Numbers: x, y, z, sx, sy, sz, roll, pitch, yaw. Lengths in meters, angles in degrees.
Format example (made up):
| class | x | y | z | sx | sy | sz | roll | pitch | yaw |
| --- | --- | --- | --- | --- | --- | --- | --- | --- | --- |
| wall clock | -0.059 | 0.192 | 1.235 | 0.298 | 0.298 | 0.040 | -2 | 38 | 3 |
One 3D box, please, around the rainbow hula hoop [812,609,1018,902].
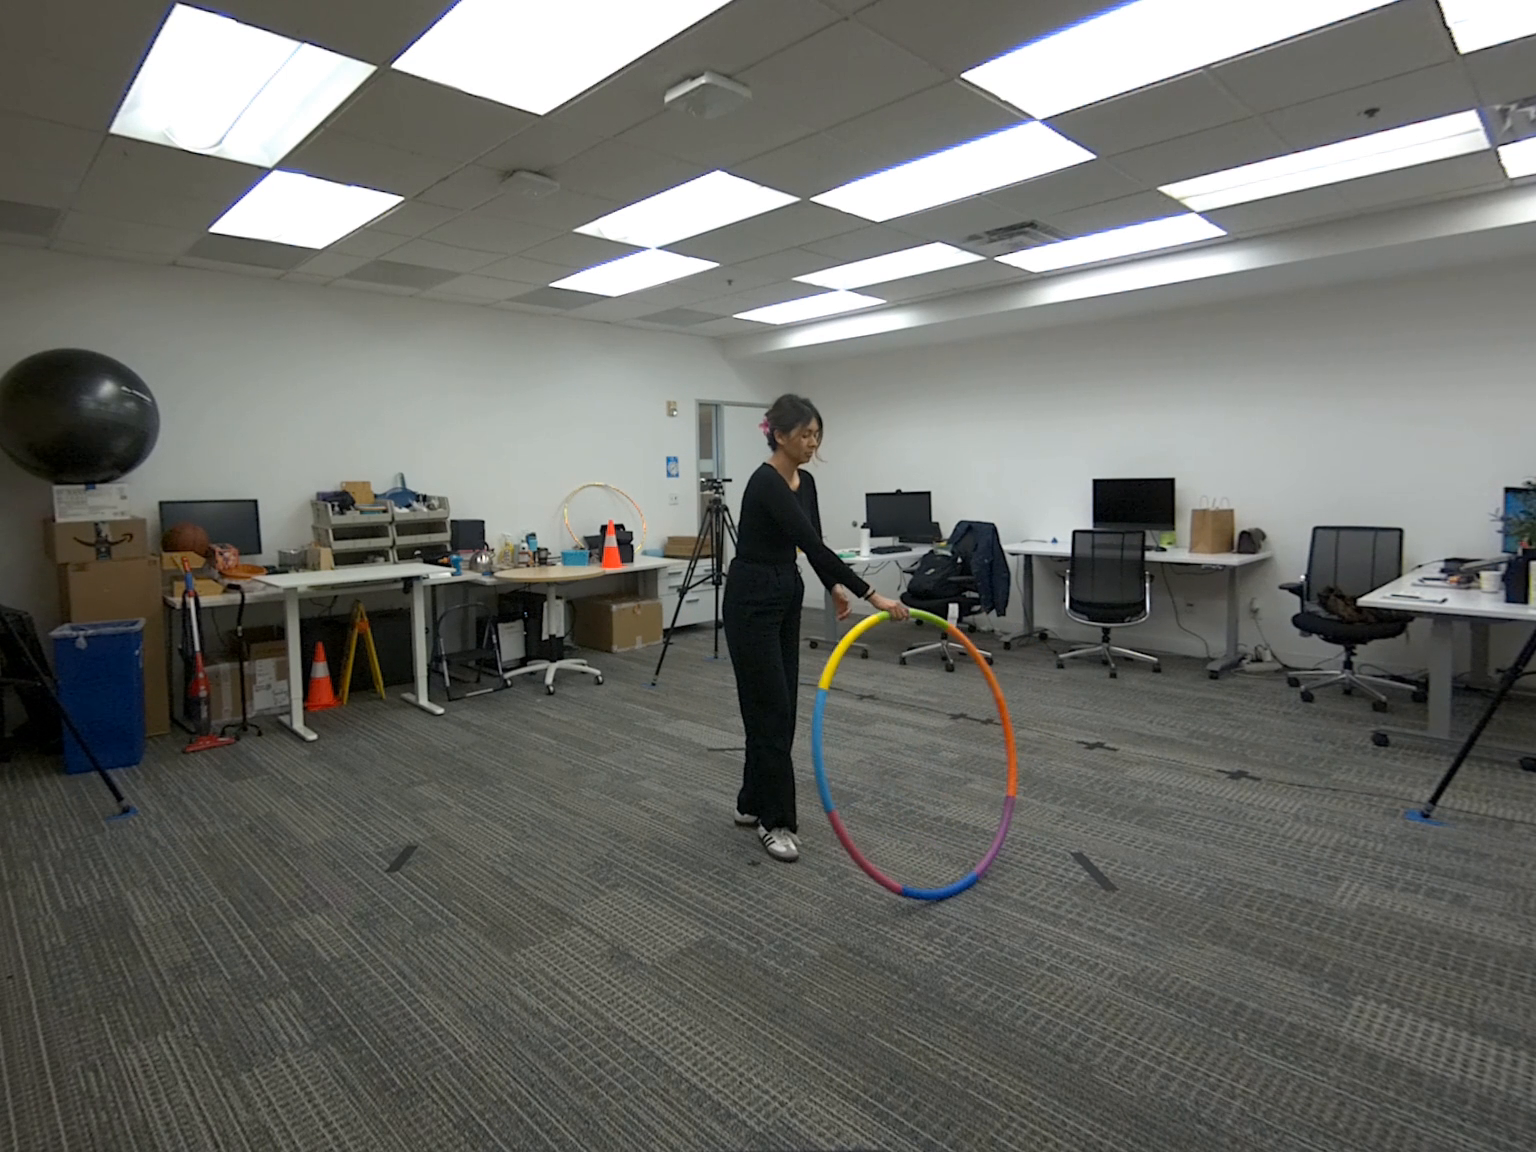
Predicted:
| class | x | y | z | sx | sy | sz | roll | pitch | yaw |
| --- | --- | --- | --- | --- | --- | --- | --- | --- | --- |
| rainbow hula hoop | 0.537 | 0.587 | 2.944 | 0.953 | 0.991 | 0.036 | -5 | -14 | -38 |
